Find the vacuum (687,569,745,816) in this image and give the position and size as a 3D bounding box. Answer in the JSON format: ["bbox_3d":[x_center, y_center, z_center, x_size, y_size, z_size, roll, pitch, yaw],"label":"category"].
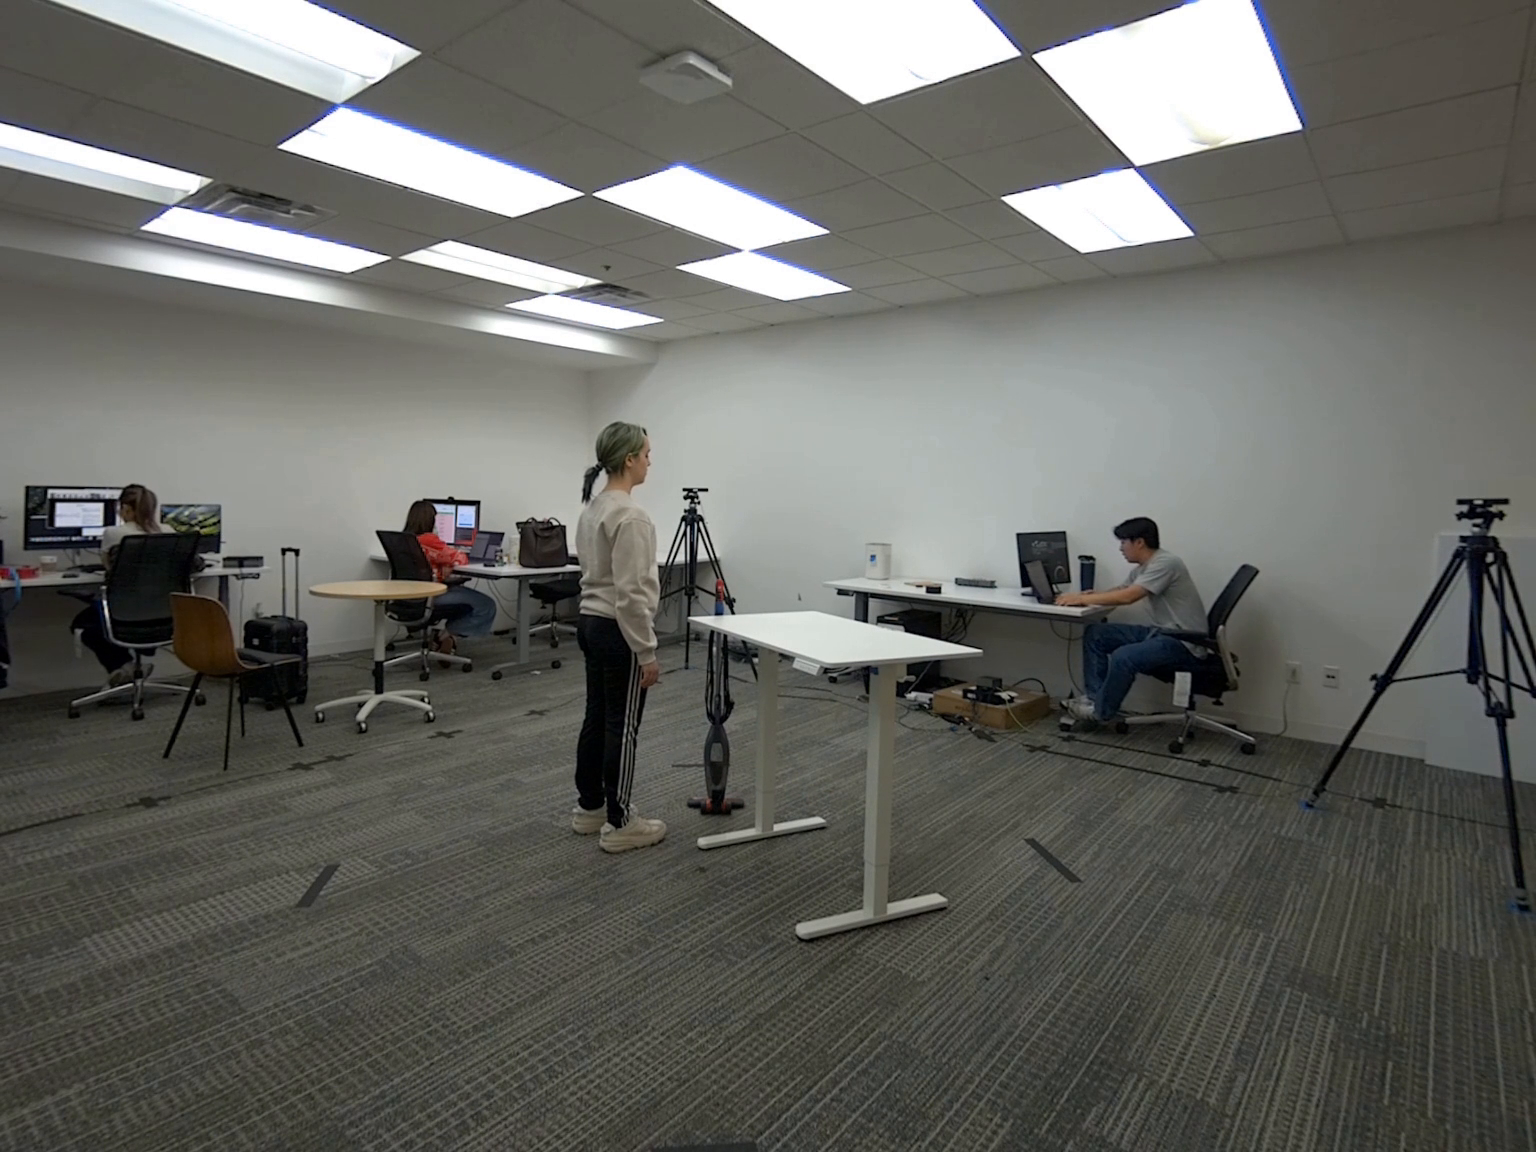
[{"bbox_3d":[-0.226,0.526,3.554,0.252,1.033,0.146,1,17,-2],"label":"vacuum"}]
